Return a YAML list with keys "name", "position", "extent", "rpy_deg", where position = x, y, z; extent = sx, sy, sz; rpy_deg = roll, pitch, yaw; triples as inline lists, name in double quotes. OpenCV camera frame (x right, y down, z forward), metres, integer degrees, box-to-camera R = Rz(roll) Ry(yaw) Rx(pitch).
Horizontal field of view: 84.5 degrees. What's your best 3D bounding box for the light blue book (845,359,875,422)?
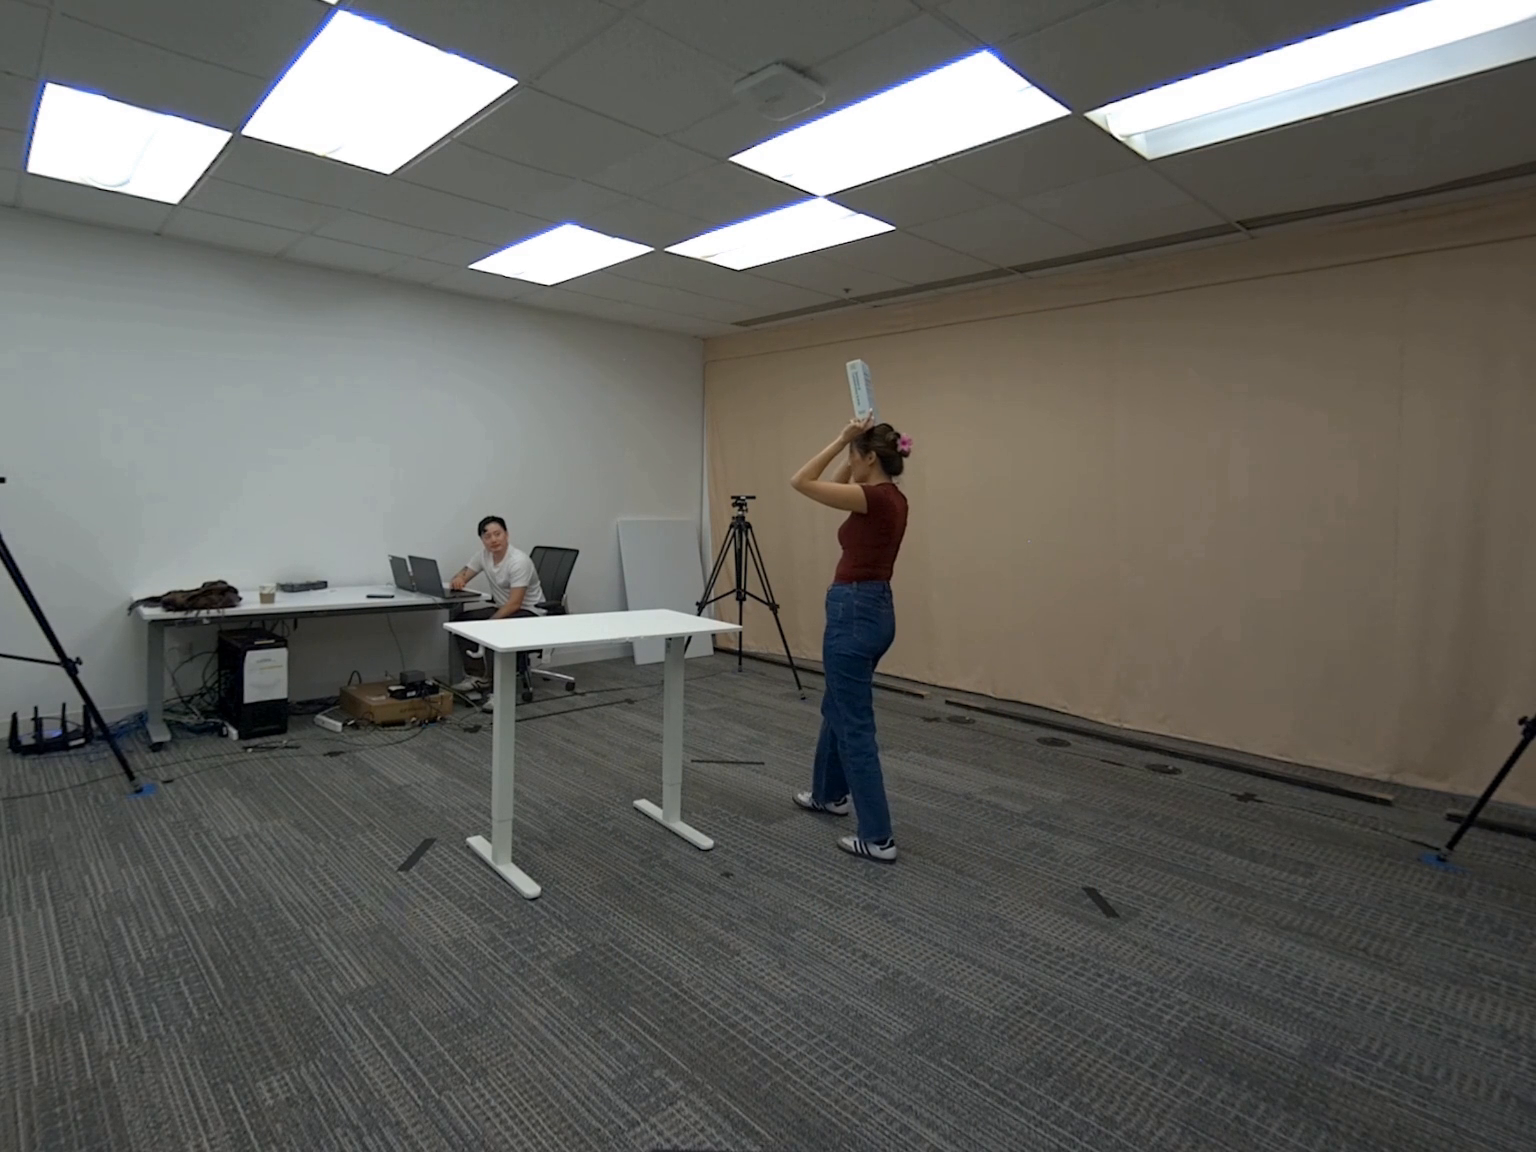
- name: "light blue book"
  position: [0.378, -0.725, 3.395]
  extent: [0.059, 0.261, 0.189]
  rpy_deg: [-10, 0, 14]
